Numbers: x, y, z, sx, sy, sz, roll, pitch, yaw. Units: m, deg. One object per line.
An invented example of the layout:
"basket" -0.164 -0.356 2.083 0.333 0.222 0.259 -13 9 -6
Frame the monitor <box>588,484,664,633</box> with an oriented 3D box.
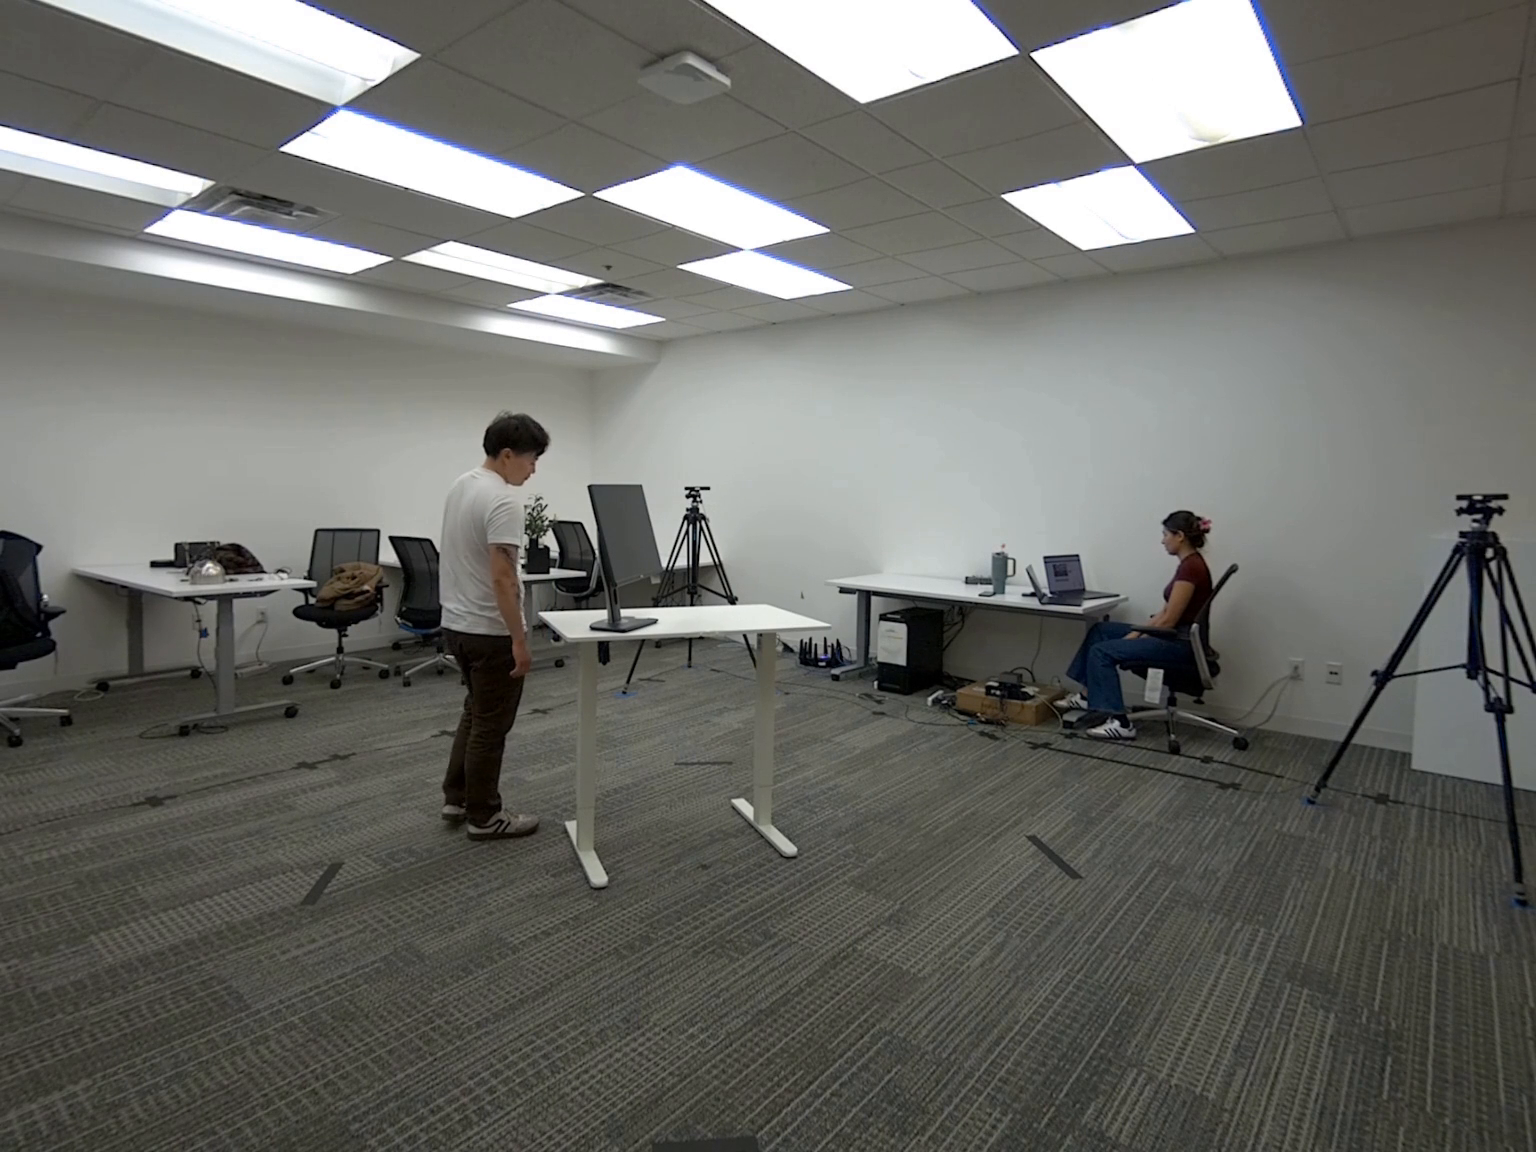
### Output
"monitor" -0.548 -0.071 3.090 0.189 0.521 0.534 0 4 9
